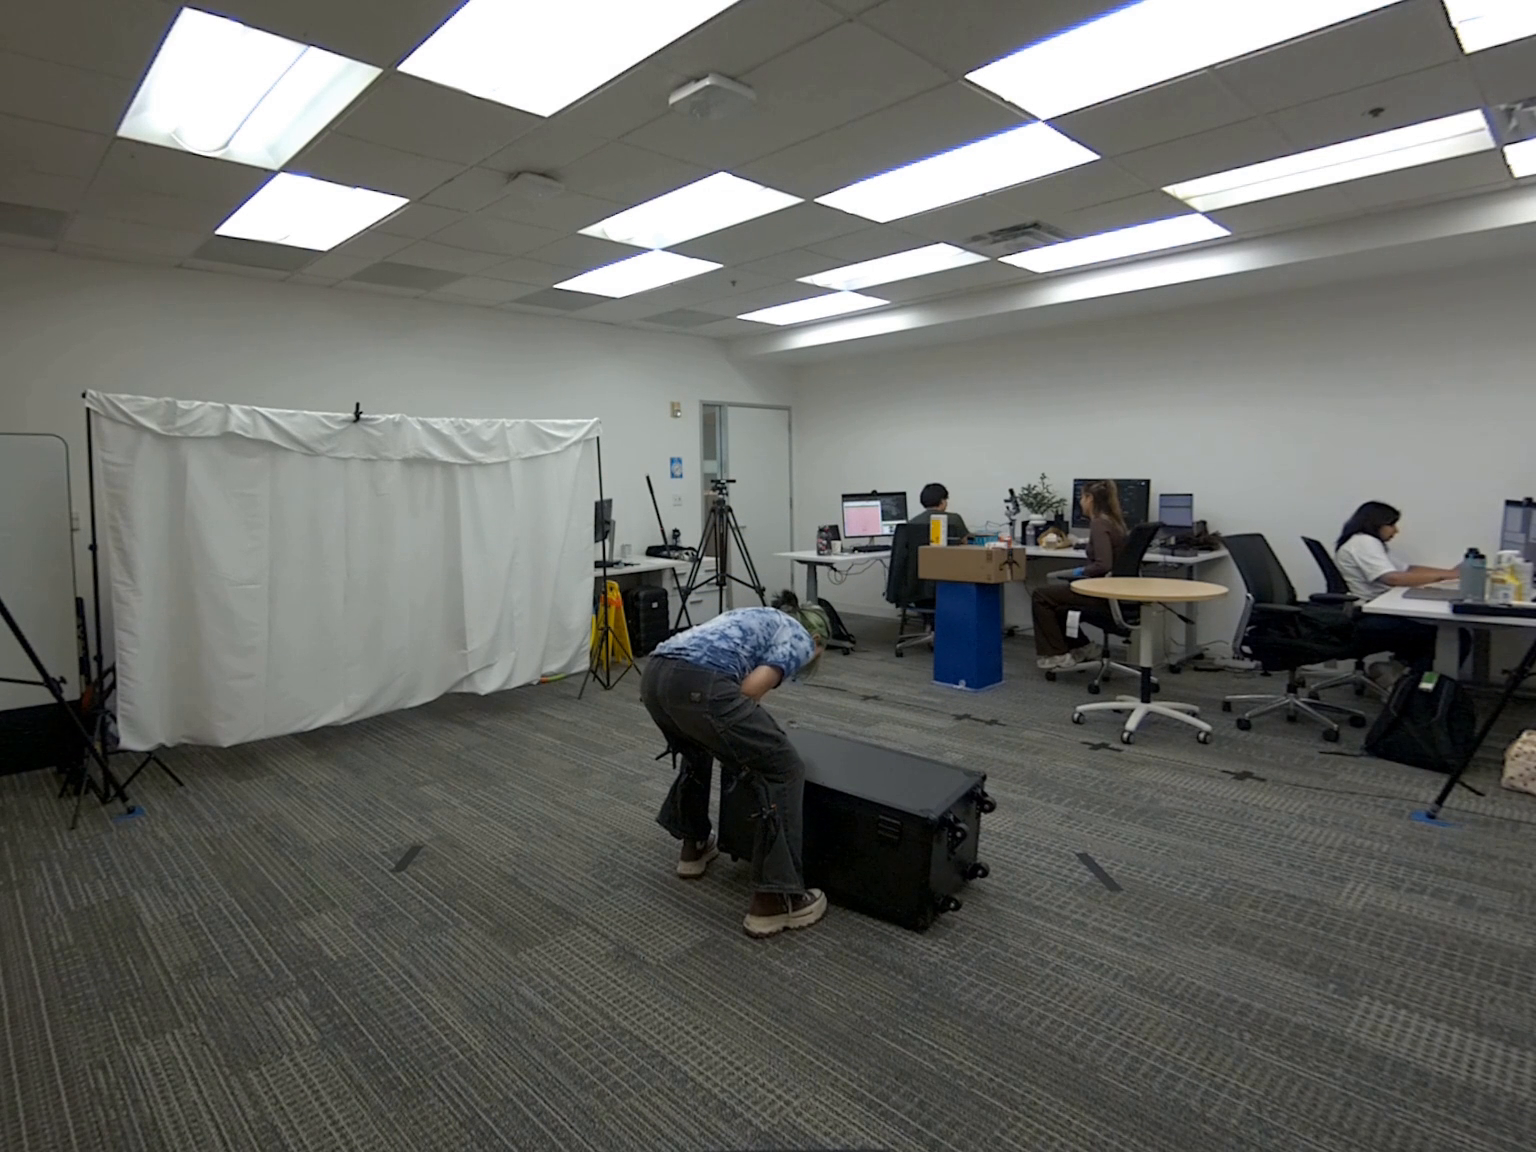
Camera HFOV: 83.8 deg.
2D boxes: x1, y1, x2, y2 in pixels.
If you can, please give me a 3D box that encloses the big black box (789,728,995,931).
[{"bbox_3d":[0.314,0.842,2.974,0.887,0.394,0.509,7,8,33],"label":"big black box"}]
